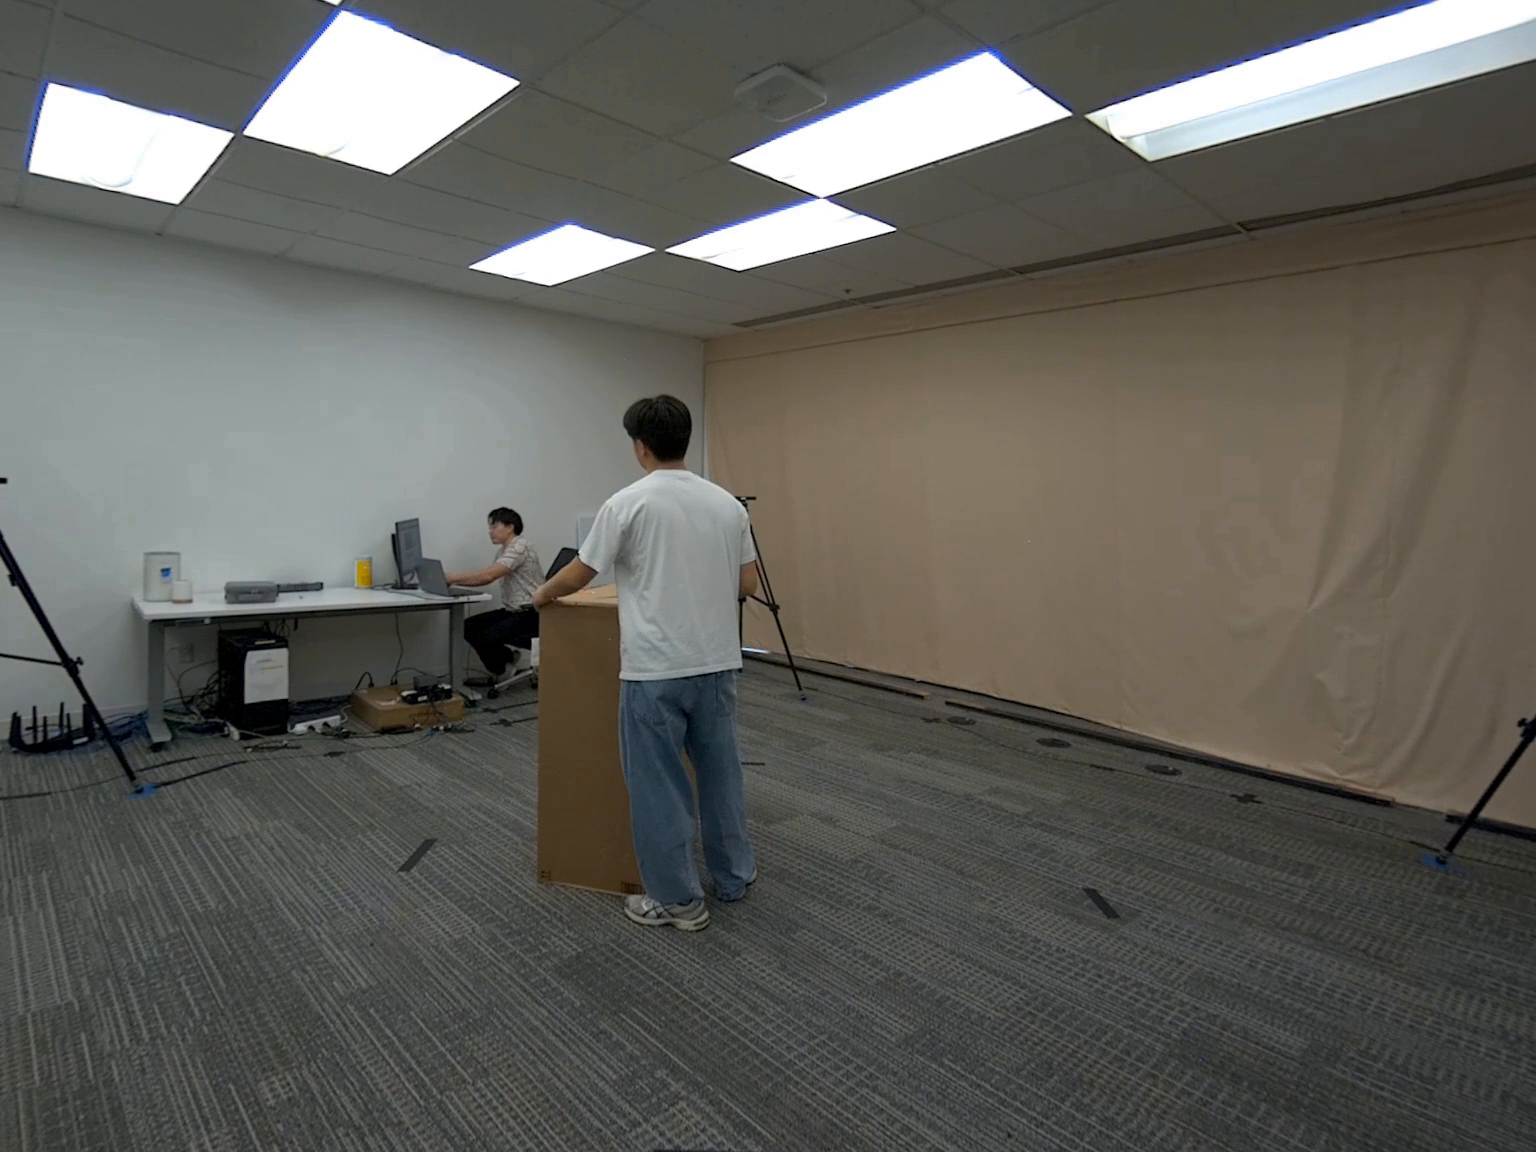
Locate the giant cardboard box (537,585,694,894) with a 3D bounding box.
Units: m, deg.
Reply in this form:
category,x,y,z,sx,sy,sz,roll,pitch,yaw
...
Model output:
category,x,y,z,sx,sy,sz,roll,pitch,yaw
giant cardboard box,-0.557,0.576,3.201,0.432,1.022,0.571,3,5,16
